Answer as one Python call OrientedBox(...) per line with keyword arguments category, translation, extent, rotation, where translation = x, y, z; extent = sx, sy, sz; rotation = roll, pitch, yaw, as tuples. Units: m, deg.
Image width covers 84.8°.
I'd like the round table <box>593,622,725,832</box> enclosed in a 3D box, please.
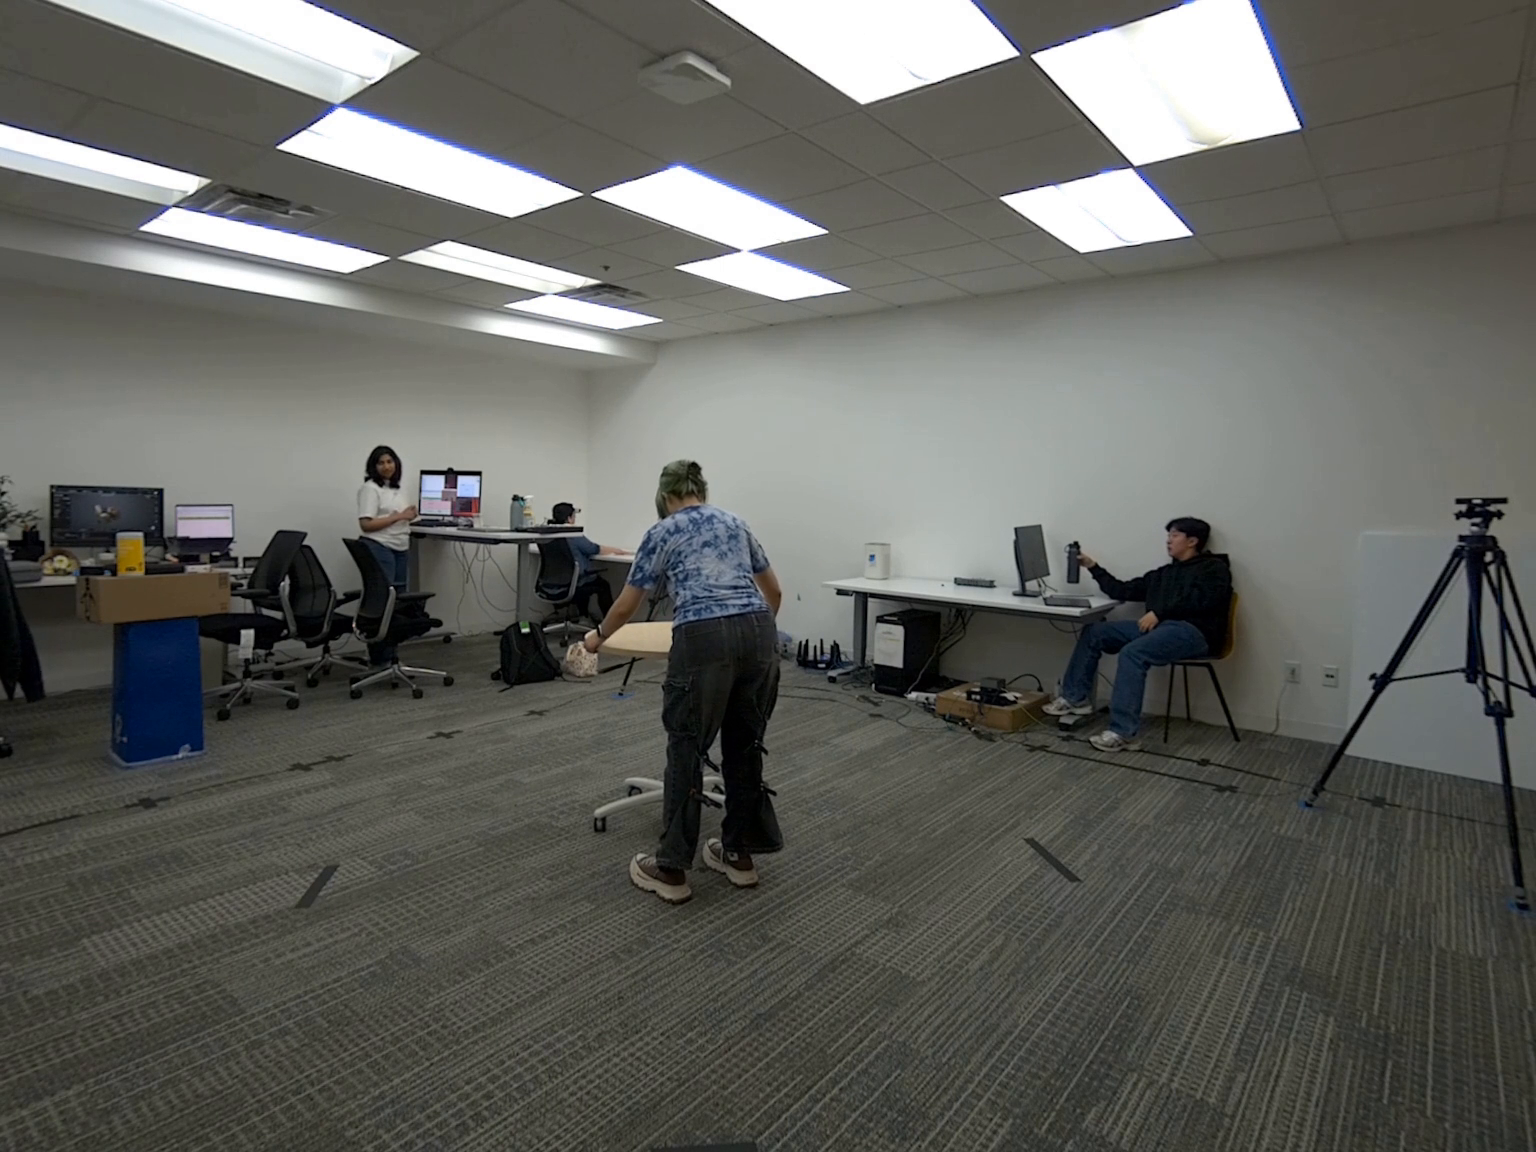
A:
OrientedBox(category="round table", translation=(-0.399, 0.635, 3.547), extent=(0.763, 0.792, 0.767), rotation=(1, 4, -2))
